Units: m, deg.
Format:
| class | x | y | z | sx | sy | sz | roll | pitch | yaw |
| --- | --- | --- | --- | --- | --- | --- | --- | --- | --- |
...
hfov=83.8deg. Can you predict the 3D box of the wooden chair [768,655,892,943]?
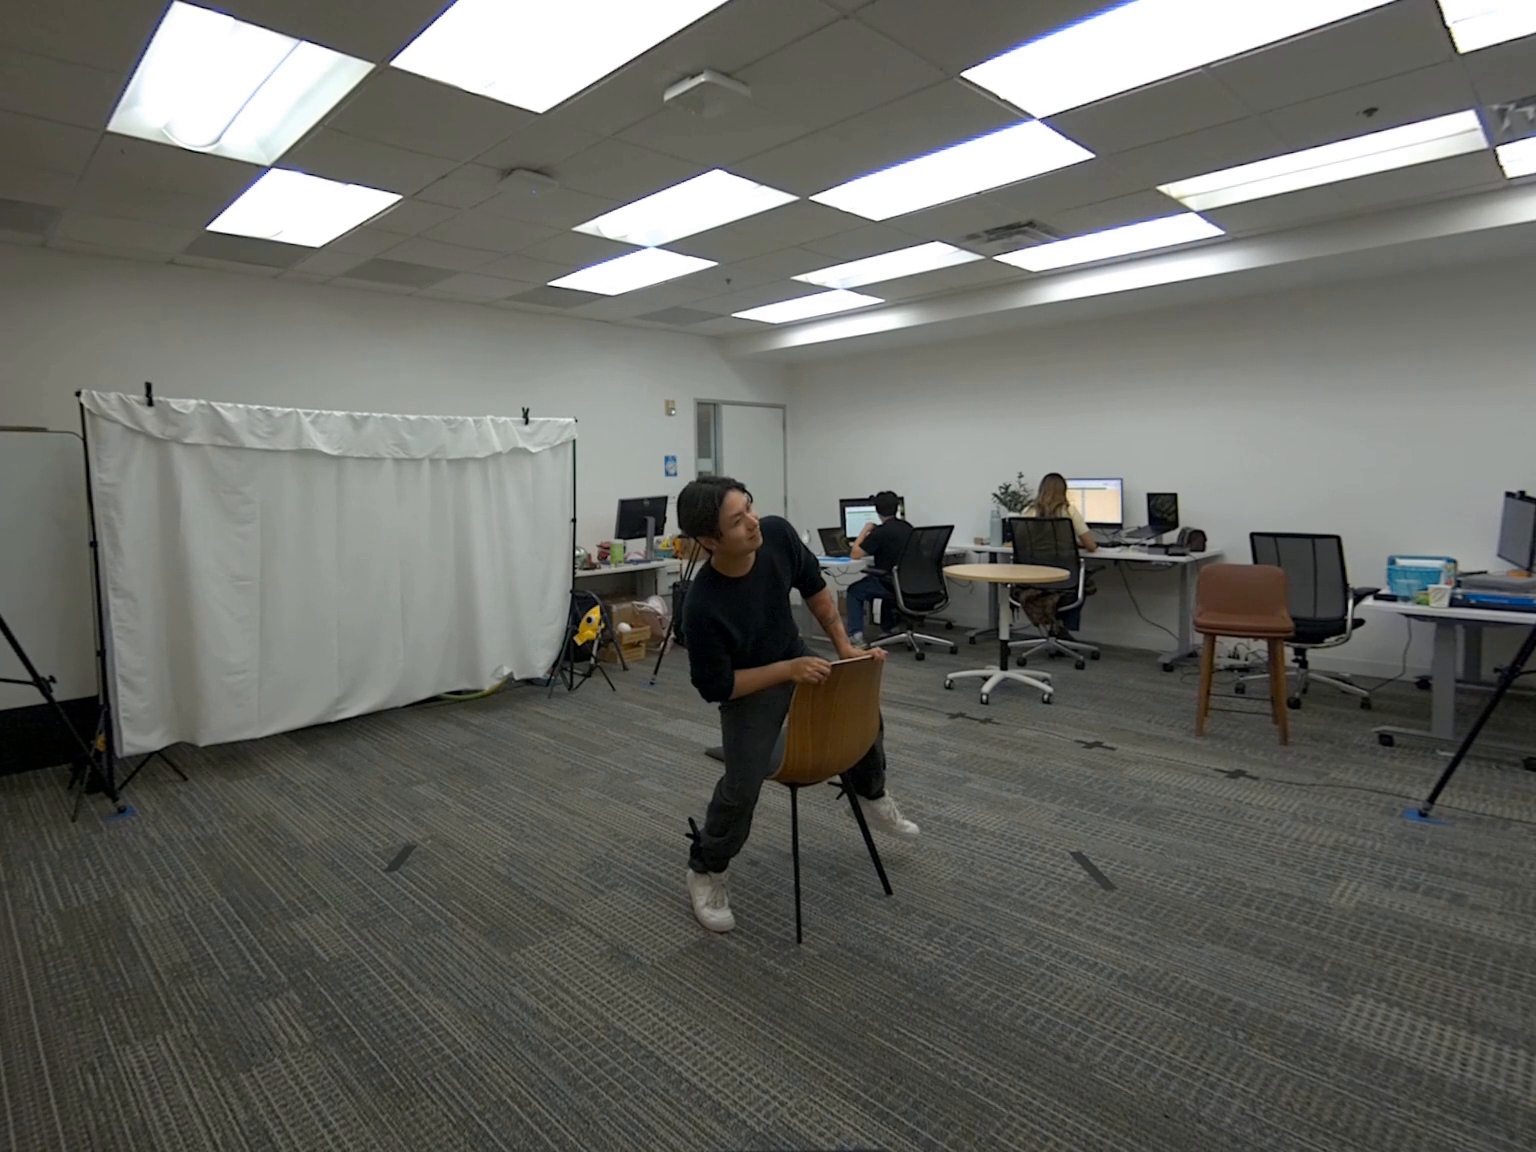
| class | x | y | z | sx | sy | sz | roll | pitch | yaw |
| --- | --- | --- | --- | --- | --- | --- | --- | --- | --- |
| wooden chair | 0.086 | 0.641 | 2.846 | 0.465 | 0.871 | 0.541 | -5 | 11 | -43 |
